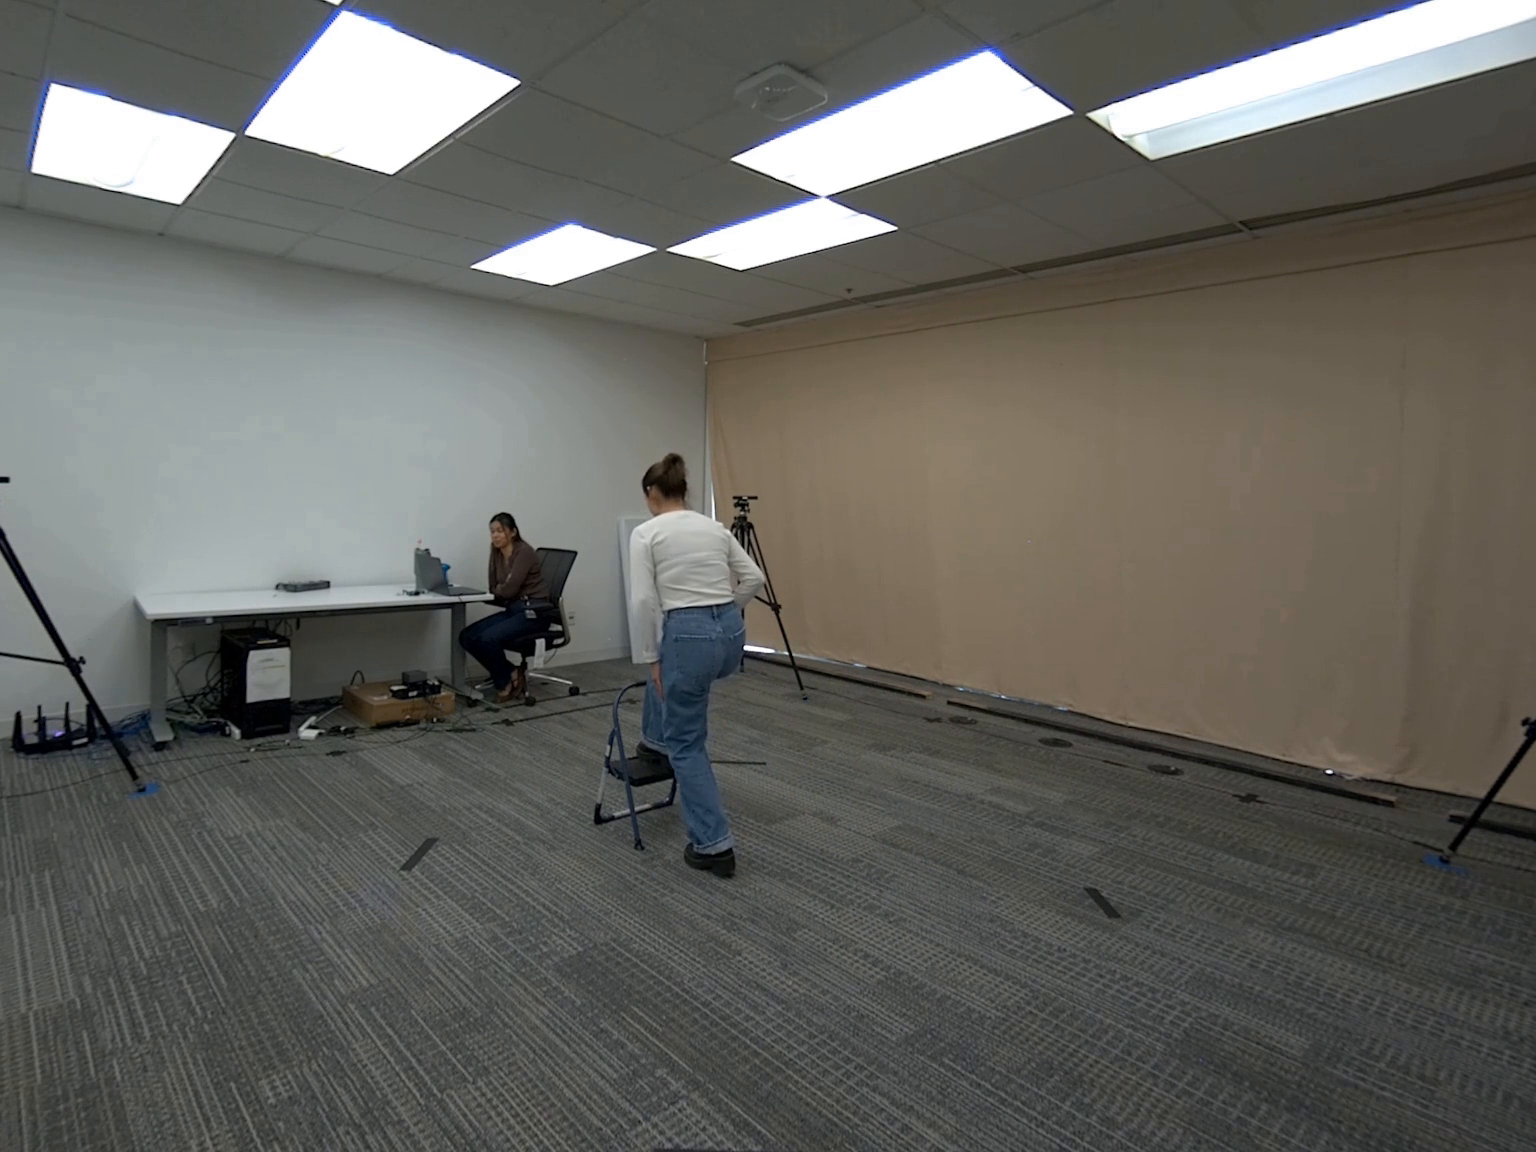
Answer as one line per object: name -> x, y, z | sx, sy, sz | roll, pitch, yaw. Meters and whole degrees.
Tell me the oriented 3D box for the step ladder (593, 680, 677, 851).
step ladder -> -0.474, 0.754, 3.552 | 0.420, 0.605, 0.358 | -1, 4, -44
